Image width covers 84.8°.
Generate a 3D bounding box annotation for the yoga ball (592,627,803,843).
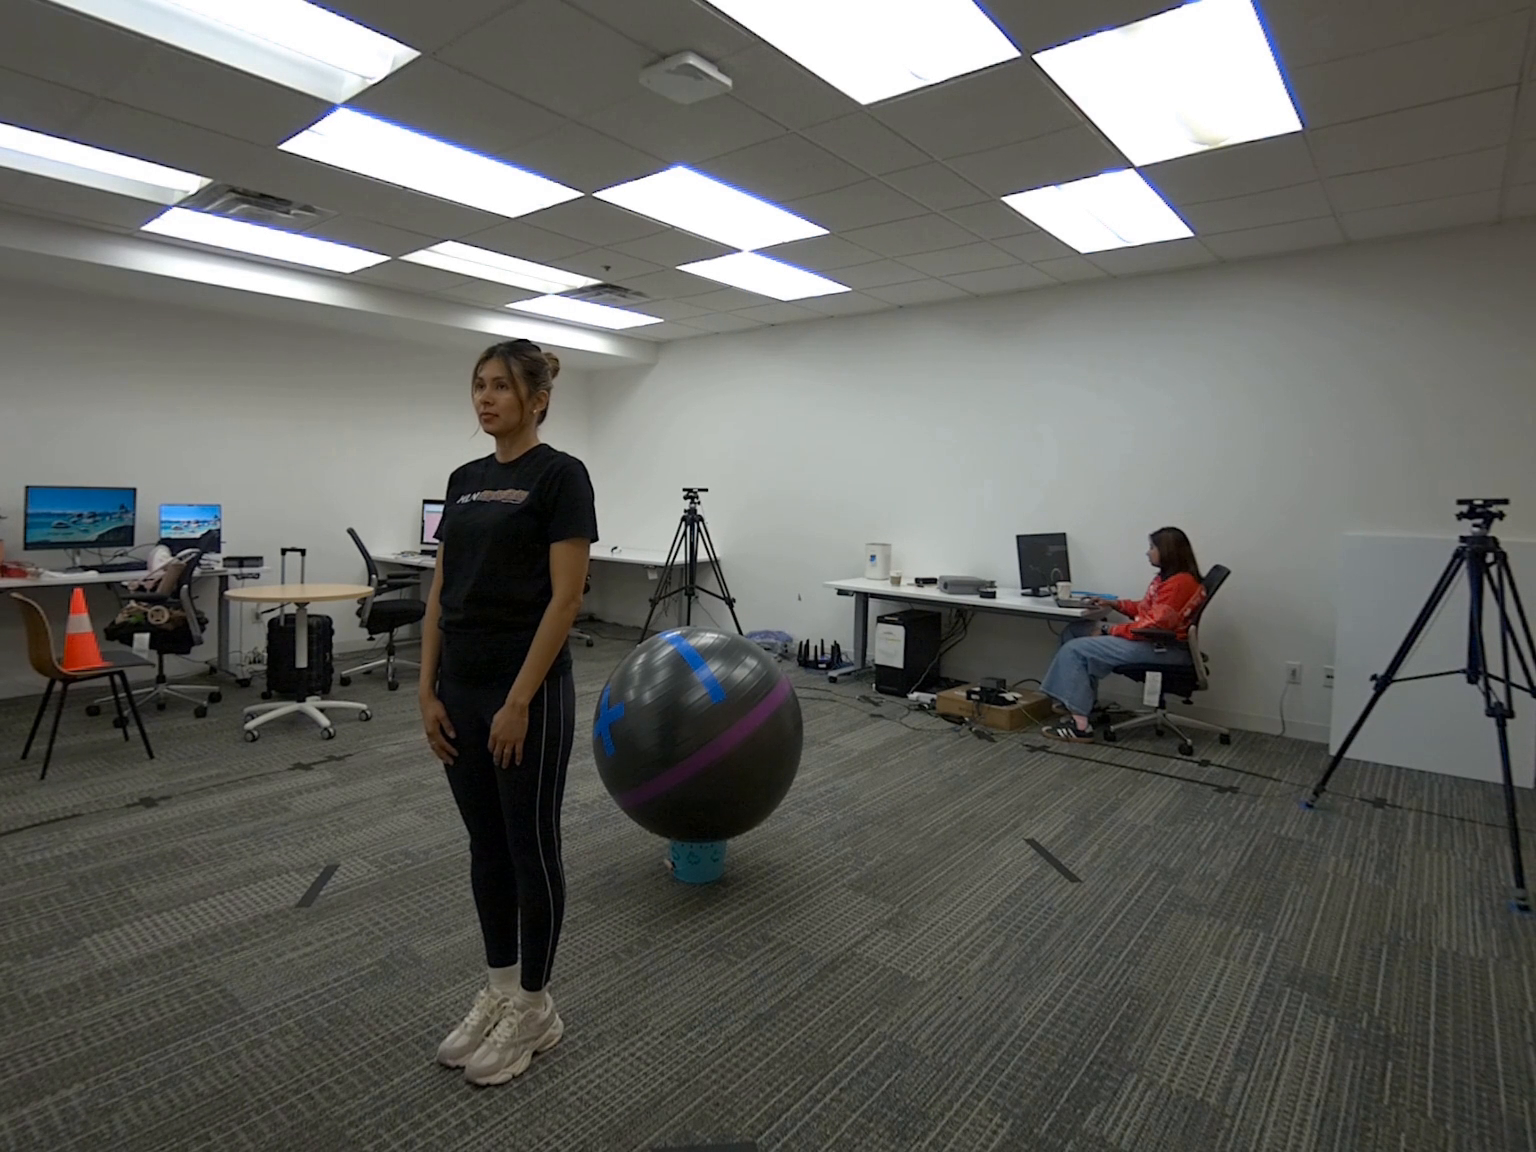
[{"bbox_3d":[-0.263,0.563,3.068,0.757,0.755,0.762,1,4,-2],"label":"yoga ball"}]
